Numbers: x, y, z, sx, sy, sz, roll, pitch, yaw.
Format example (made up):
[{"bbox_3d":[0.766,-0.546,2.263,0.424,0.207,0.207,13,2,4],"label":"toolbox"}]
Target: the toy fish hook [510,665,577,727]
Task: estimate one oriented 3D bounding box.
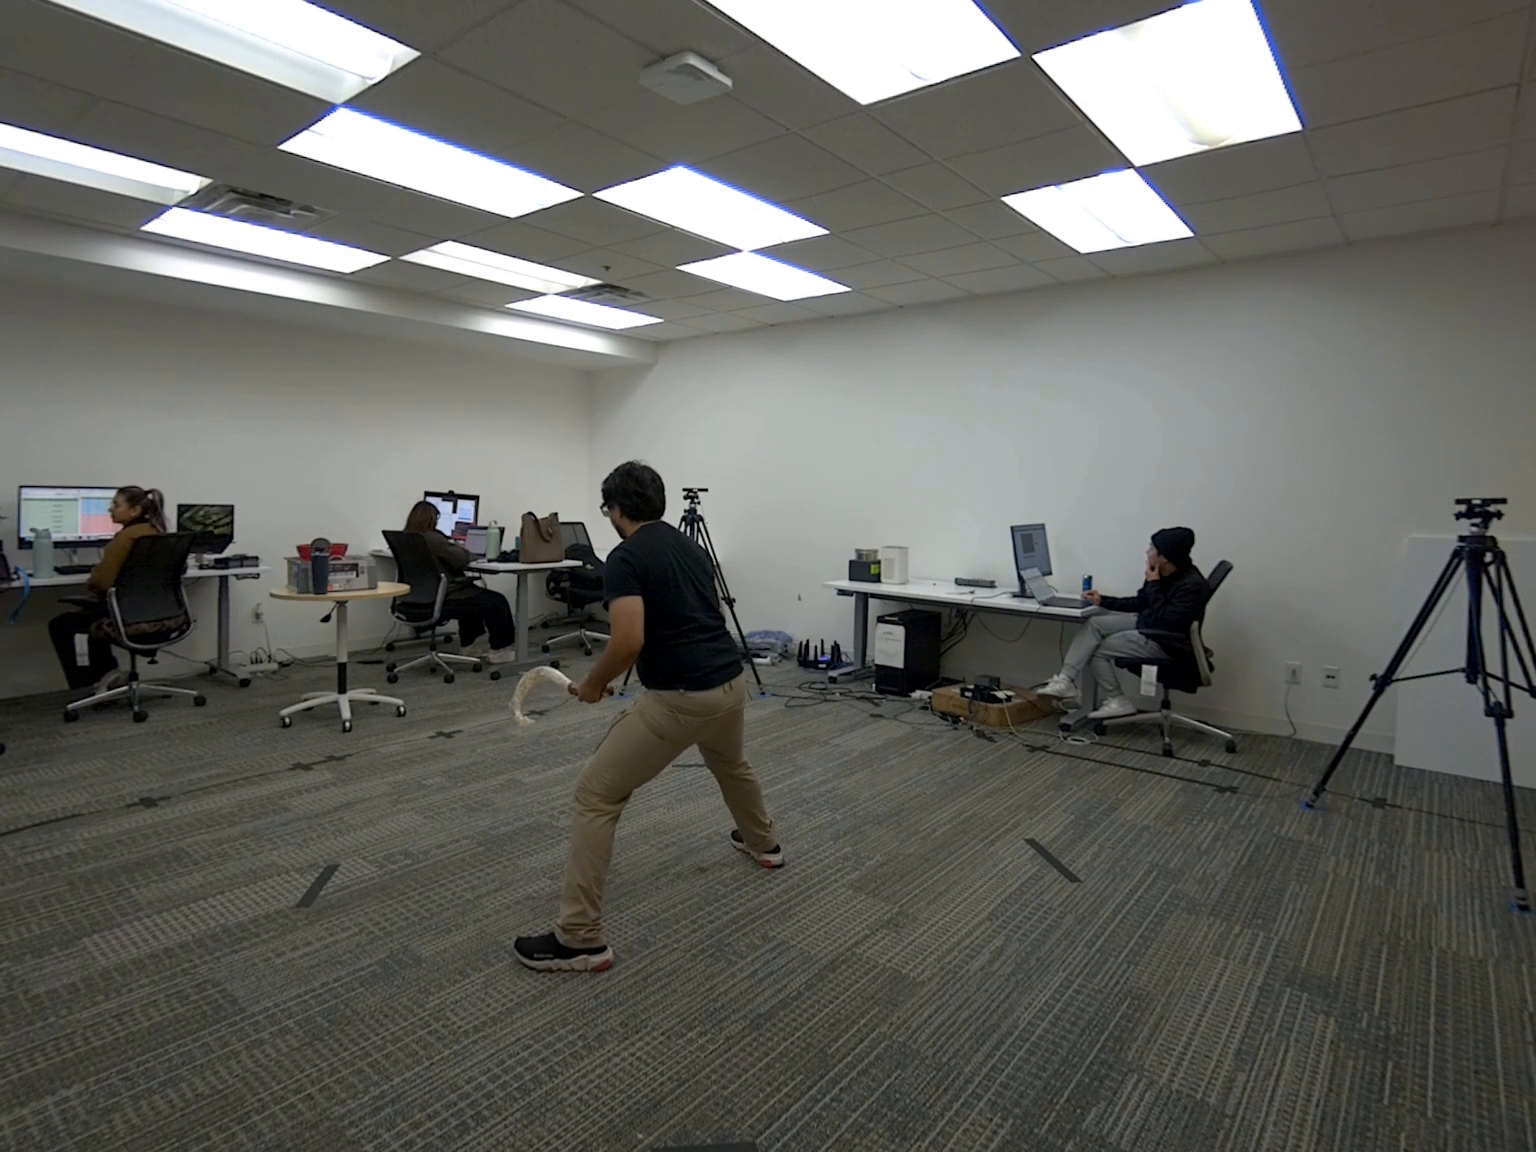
[{"bbox_3d":[-0.725,0.420,2.871,0.522,0.227,0.046,-2,-28,42],"label":"toy fish hook"}]
